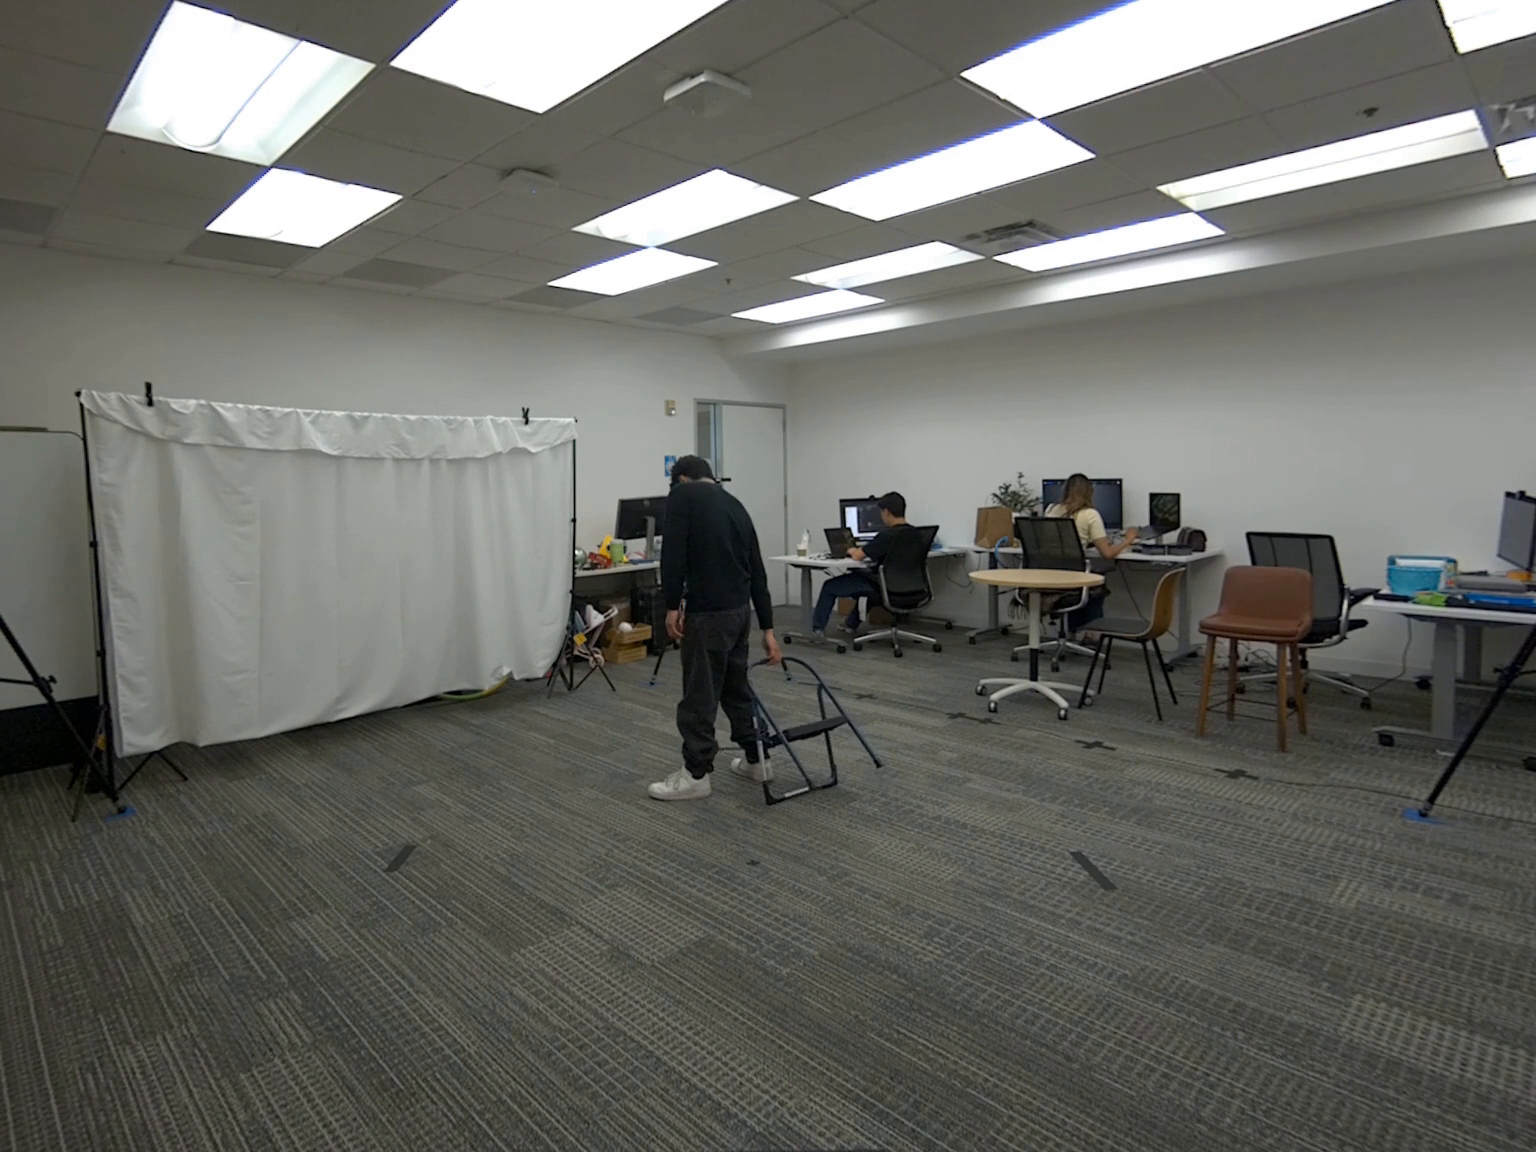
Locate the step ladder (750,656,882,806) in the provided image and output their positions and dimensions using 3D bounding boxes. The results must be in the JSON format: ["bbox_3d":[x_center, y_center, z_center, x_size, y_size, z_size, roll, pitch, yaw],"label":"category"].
[{"bbox_3d":[0.153,0.627,3.749,0.419,0.620,0.351,-2,-25,-38],"label":"step ladder"}]
